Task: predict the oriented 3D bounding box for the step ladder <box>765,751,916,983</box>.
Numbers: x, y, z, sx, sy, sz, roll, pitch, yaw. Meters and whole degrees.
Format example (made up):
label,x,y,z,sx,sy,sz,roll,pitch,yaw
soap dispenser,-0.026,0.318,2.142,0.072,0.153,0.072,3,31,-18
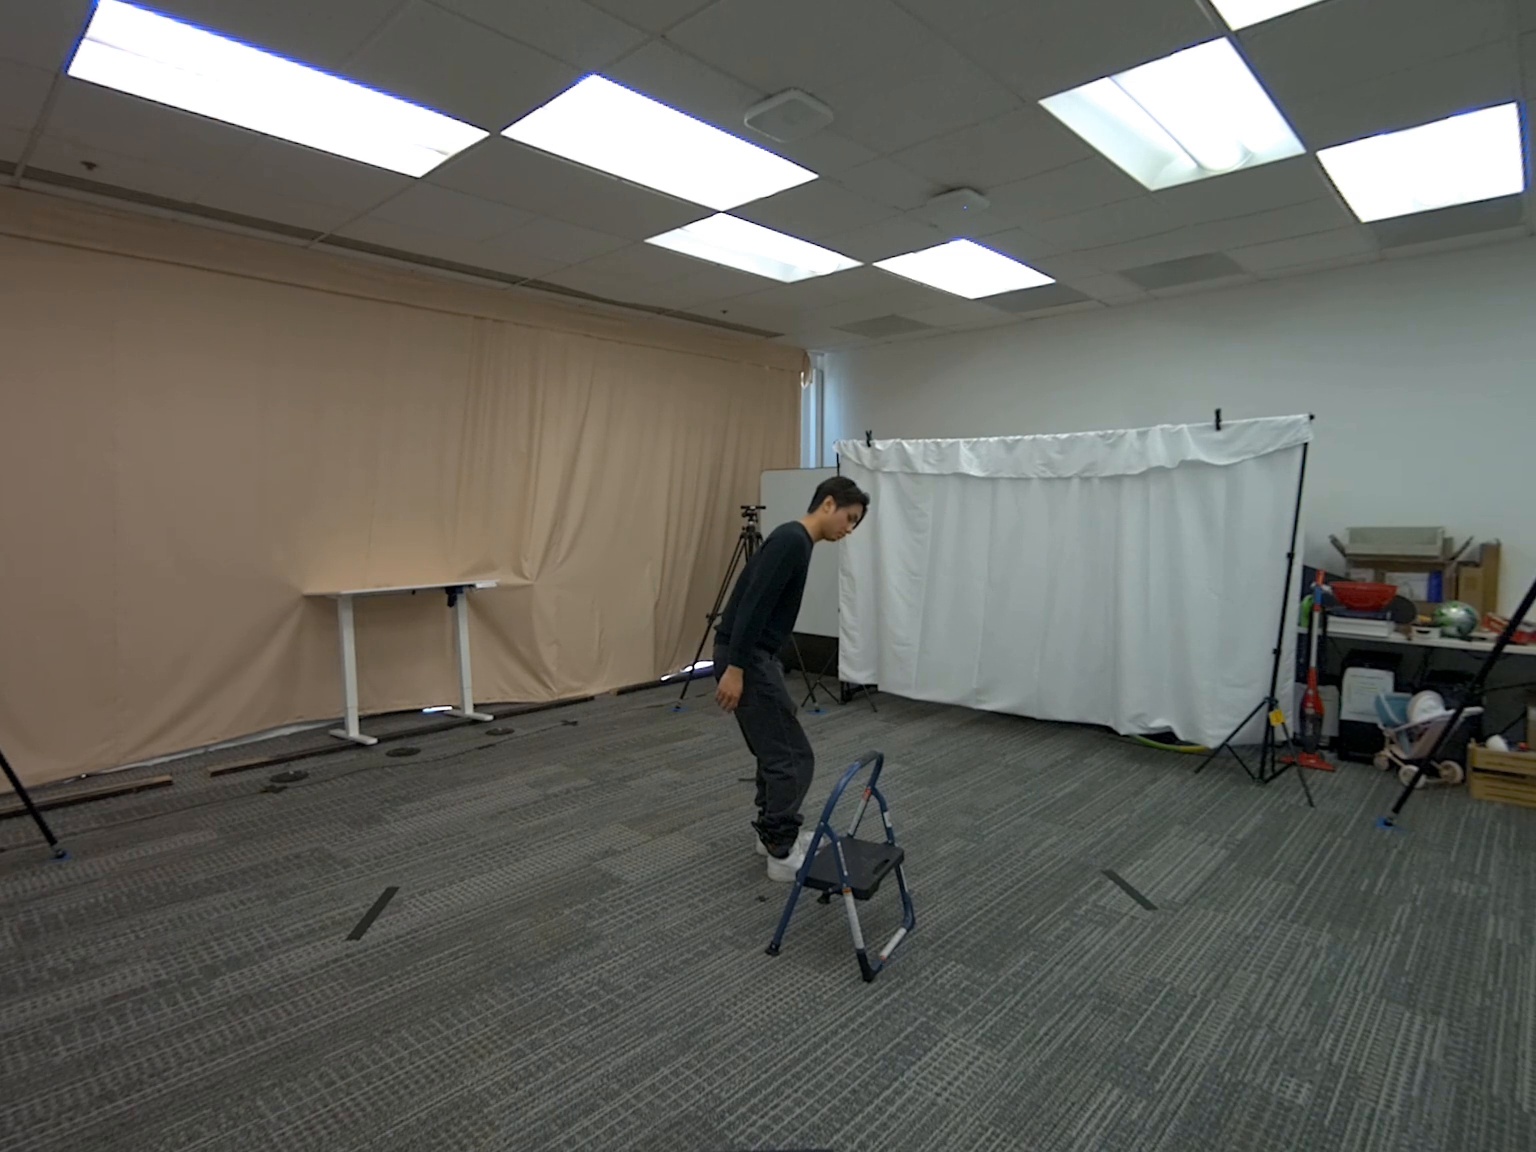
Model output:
label,x,y,z,sx,sy,sz,roll,pitch,yaw
step ladder,0.245,0.863,2.695,0.359,0.605,0.419,1,4,29
